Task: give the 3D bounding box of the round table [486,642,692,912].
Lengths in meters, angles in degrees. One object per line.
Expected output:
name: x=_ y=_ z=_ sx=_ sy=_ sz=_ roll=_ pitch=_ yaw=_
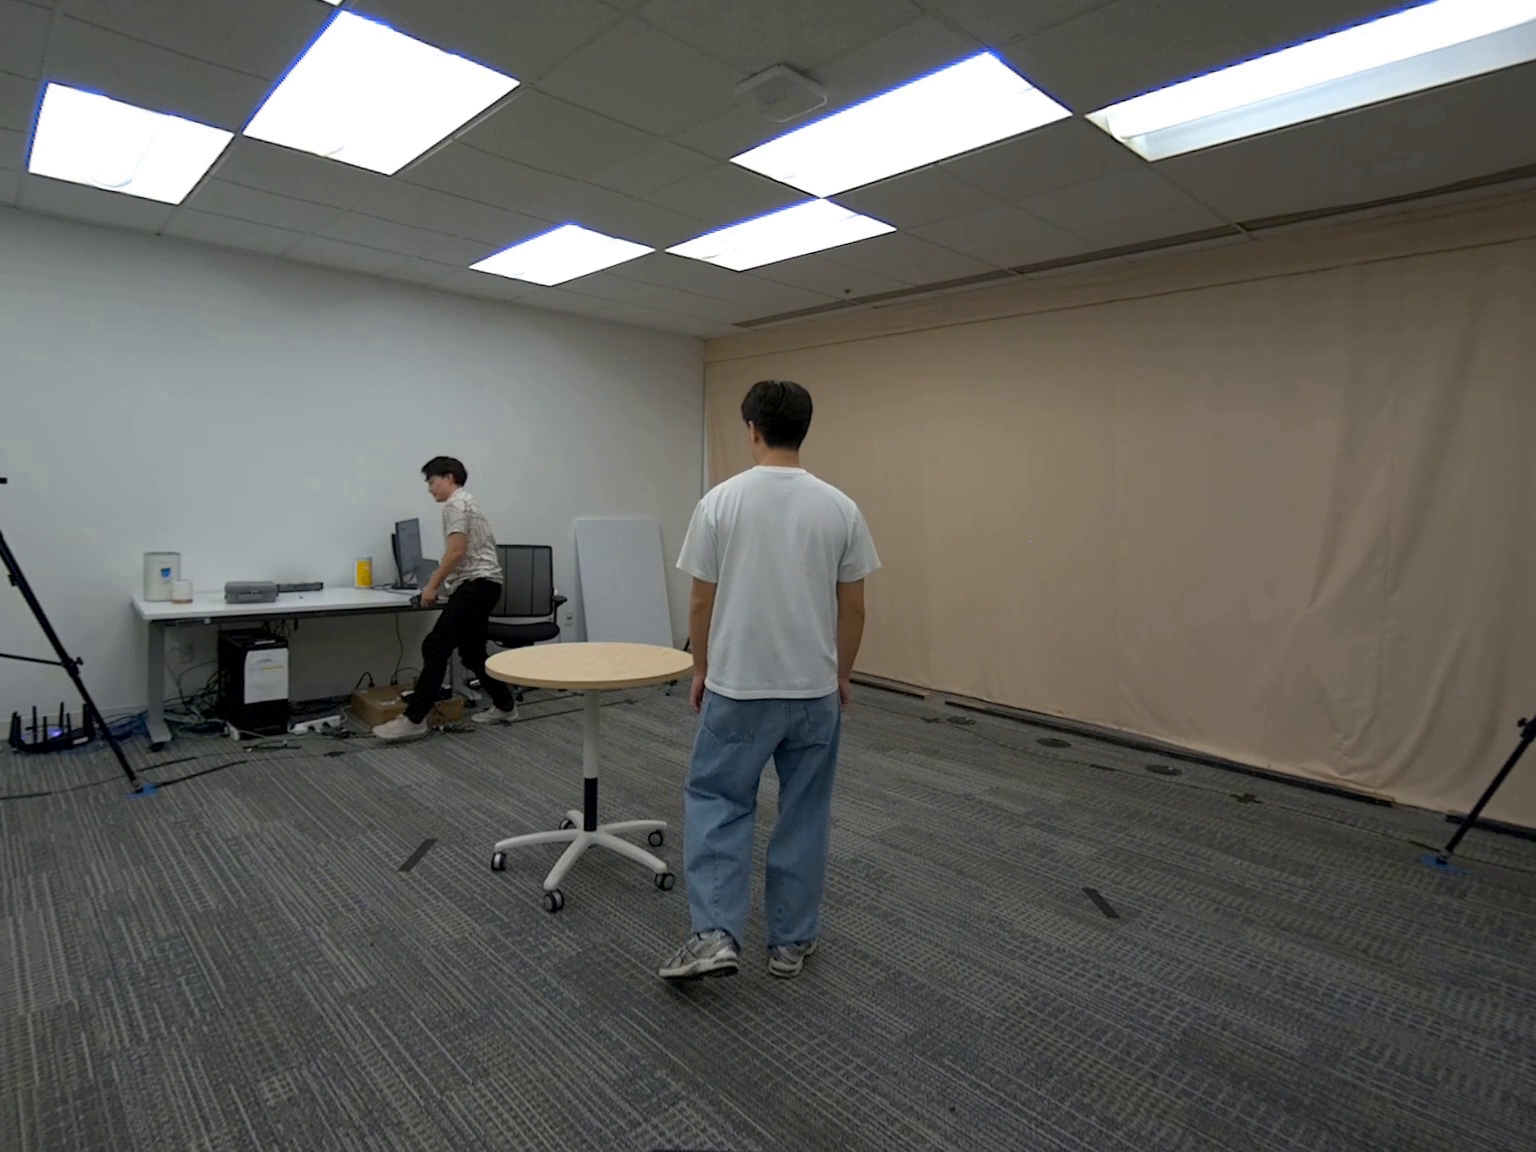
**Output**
round table: x=-0.666 y=0.698 z=3.147 sx=0.784 sy=0.784 sz=0.788 roll=1 pitch=4 yaw=-1
